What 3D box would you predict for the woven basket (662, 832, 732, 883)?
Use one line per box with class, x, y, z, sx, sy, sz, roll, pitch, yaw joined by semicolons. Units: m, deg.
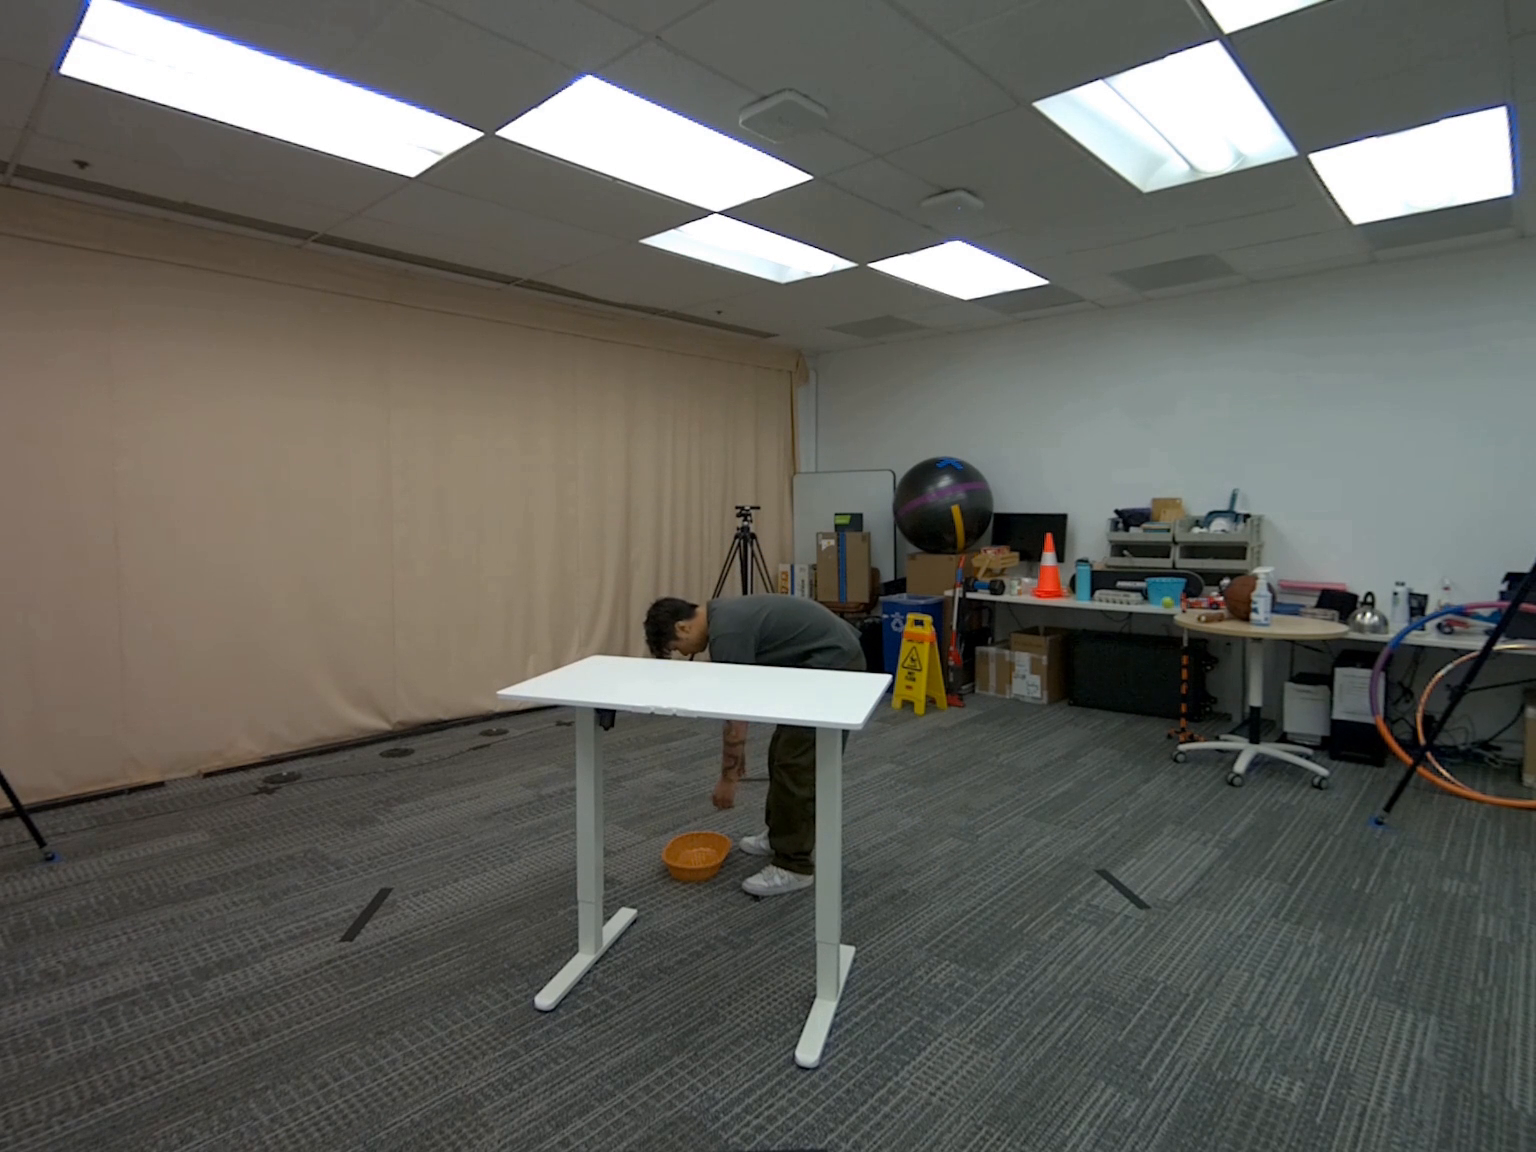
woven basket;-0.274;1.090;3.260;0.257;0.073;0.345;1;5;16
